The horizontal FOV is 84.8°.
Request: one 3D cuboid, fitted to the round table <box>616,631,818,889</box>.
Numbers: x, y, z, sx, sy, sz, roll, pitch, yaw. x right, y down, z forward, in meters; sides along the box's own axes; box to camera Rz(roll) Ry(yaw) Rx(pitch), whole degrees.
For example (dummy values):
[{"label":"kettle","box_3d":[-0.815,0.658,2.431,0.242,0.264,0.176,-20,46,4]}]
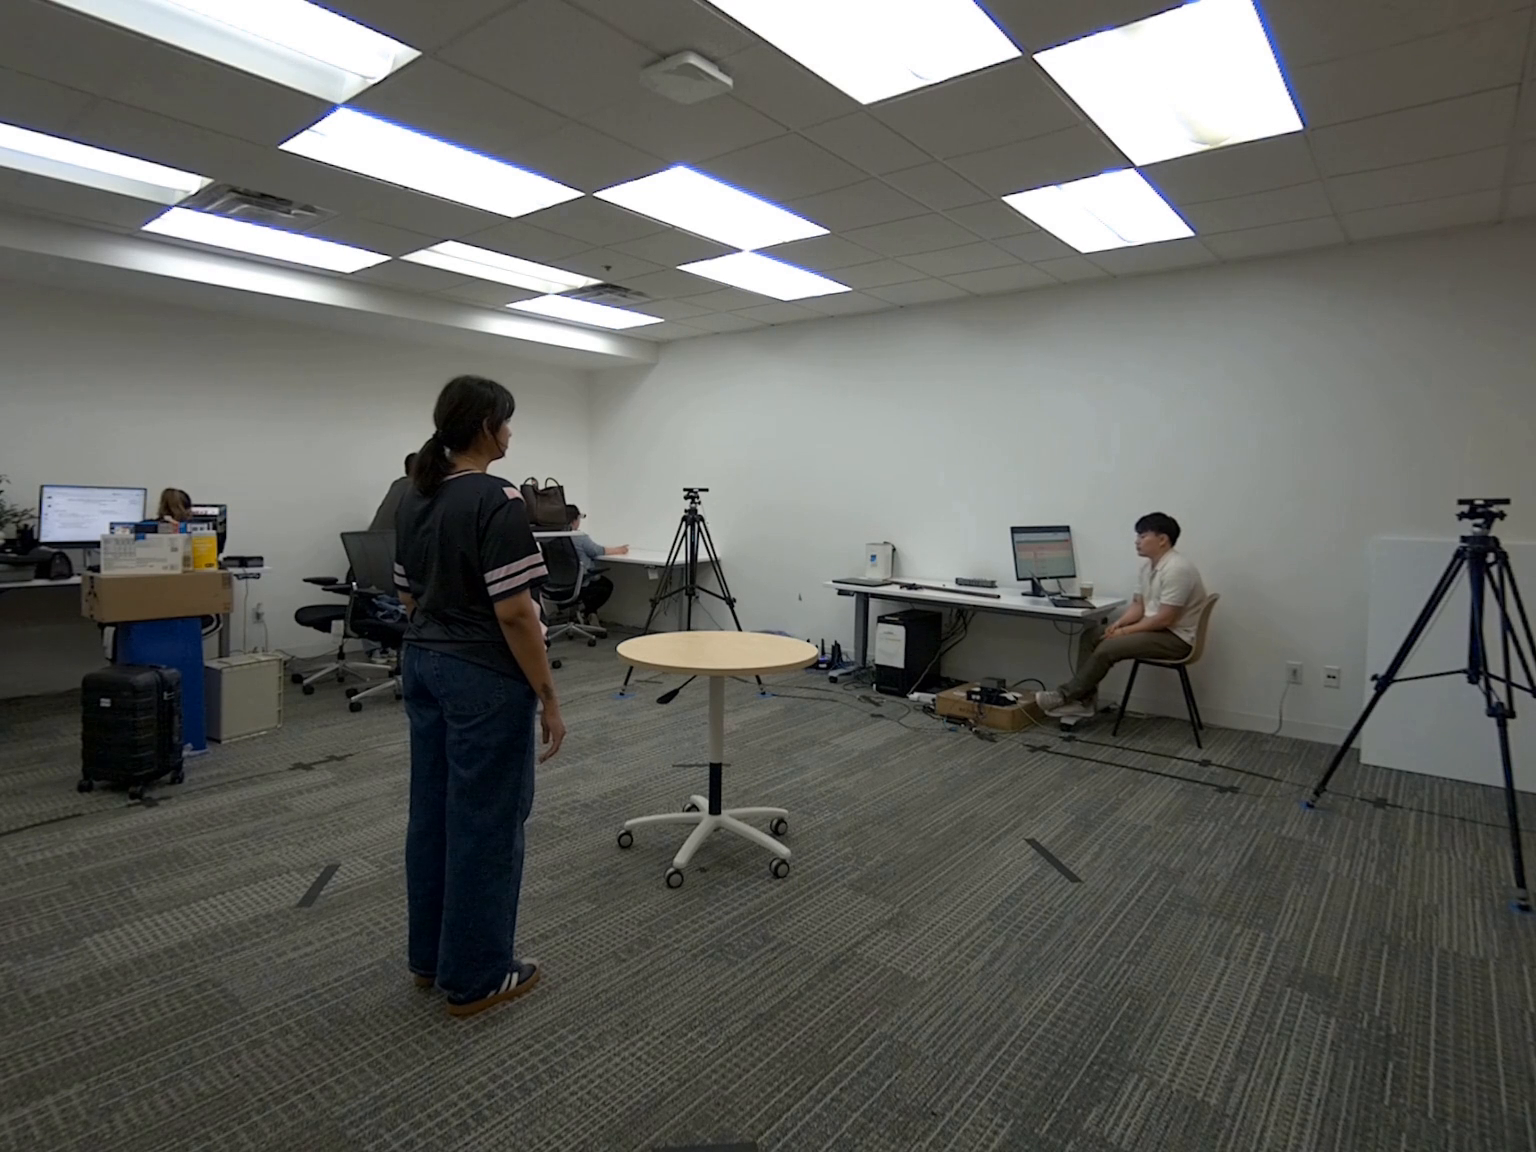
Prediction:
[{"label":"round table","box_3d":[-0.198,0.662,3.270,0.784,0.784,0.789,1,4,-2]}]
